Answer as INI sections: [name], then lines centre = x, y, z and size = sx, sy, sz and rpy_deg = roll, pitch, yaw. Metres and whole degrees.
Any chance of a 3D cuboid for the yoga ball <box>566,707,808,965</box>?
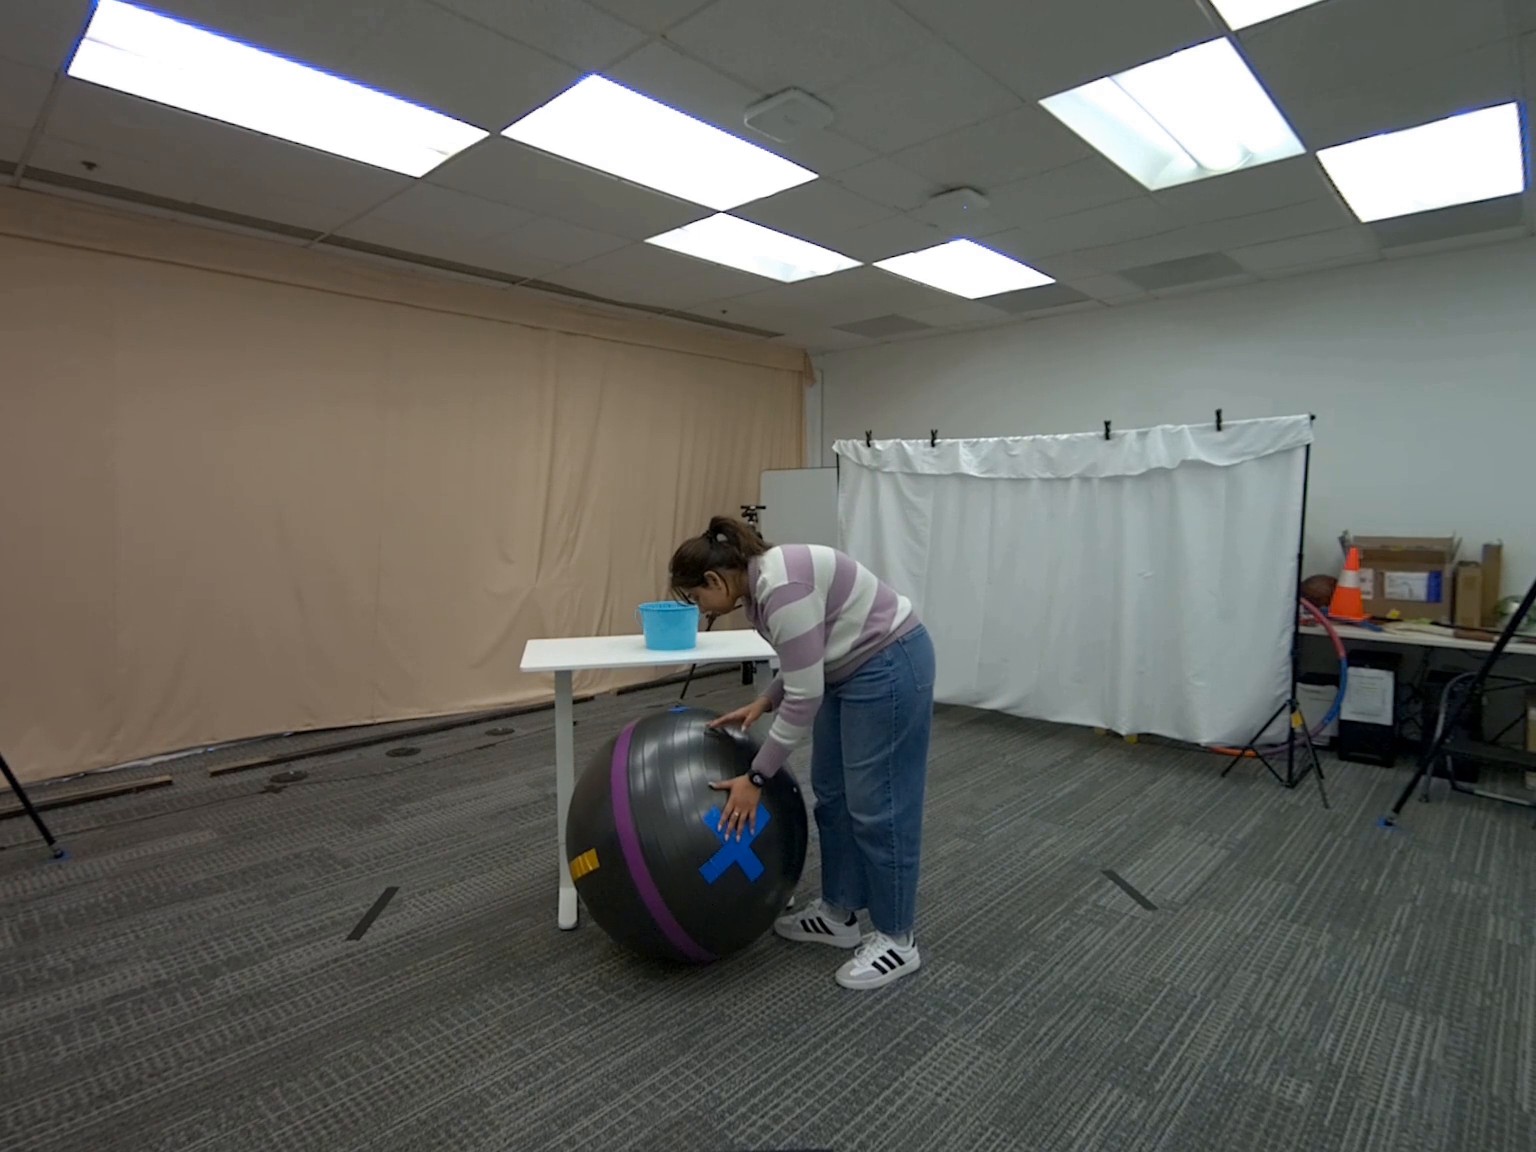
[yoga ball]
centre = -0.252, 0.809, 2.646
size = 0.757, 0.756, 0.760
rpy_deg = 0, 4, -2
